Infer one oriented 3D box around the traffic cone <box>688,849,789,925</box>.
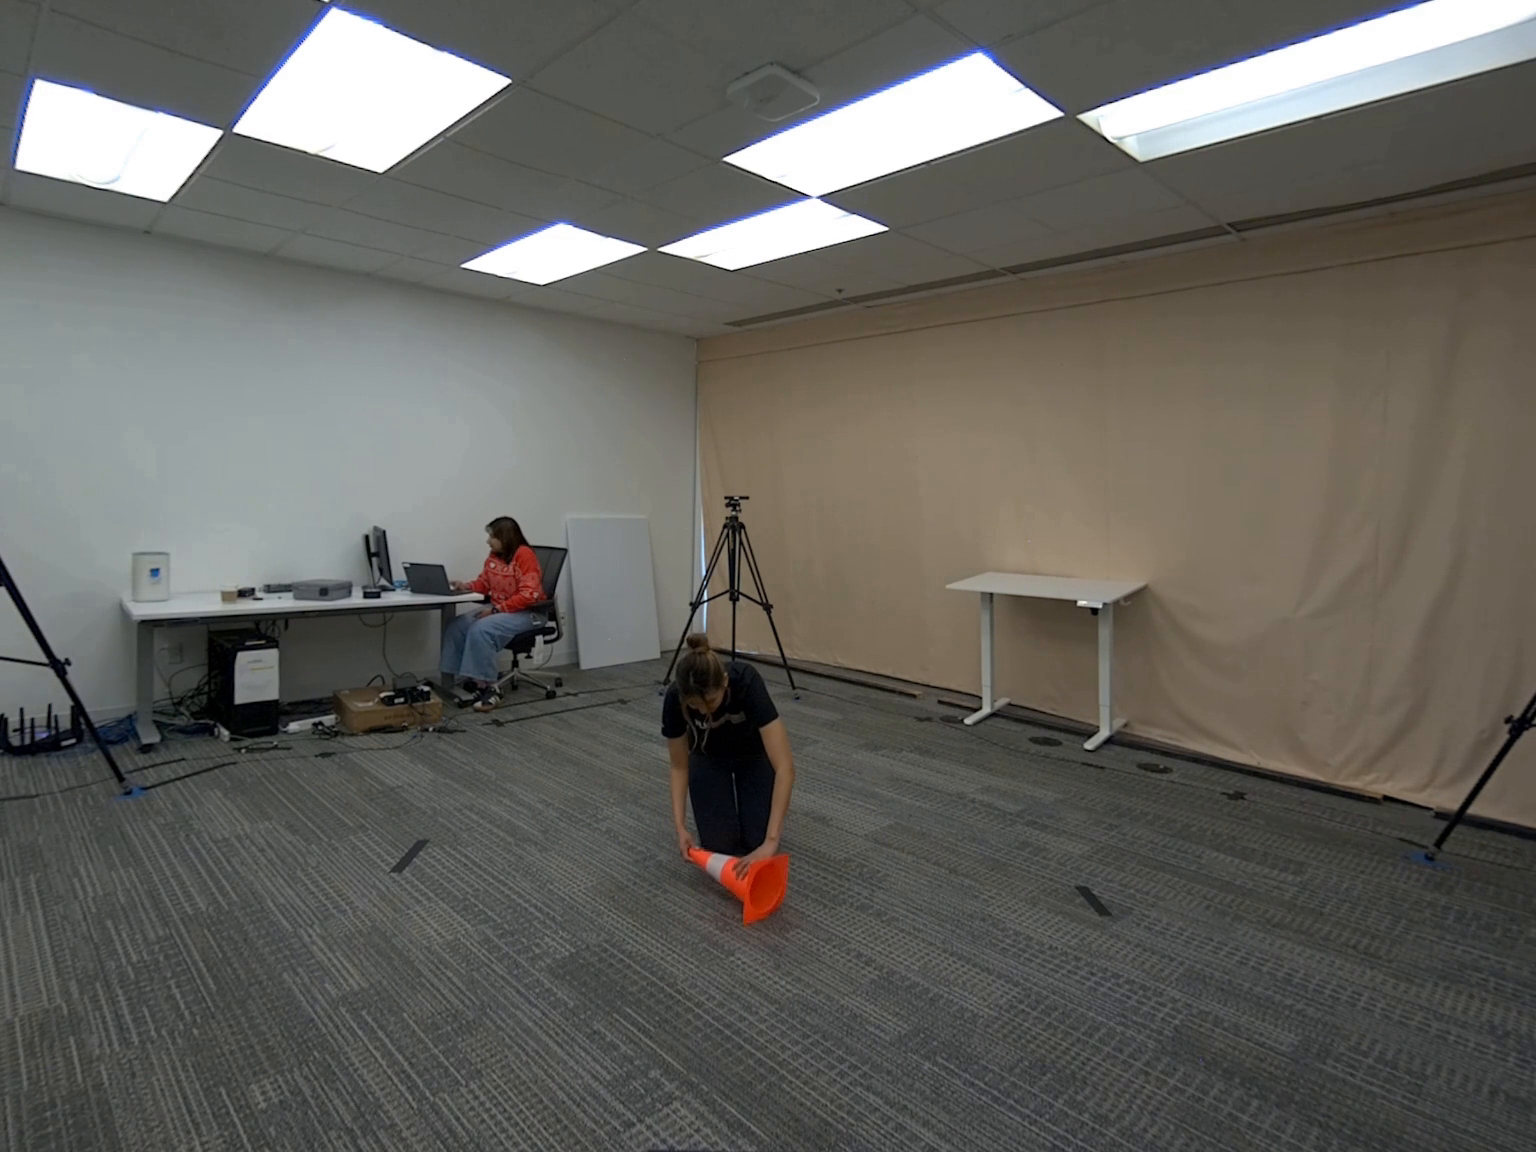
[{"bbox_3d":[-0.156,1.024,2.914,0.393,0.203,0.199,4,-2,43],"label":"traffic cone"}]
